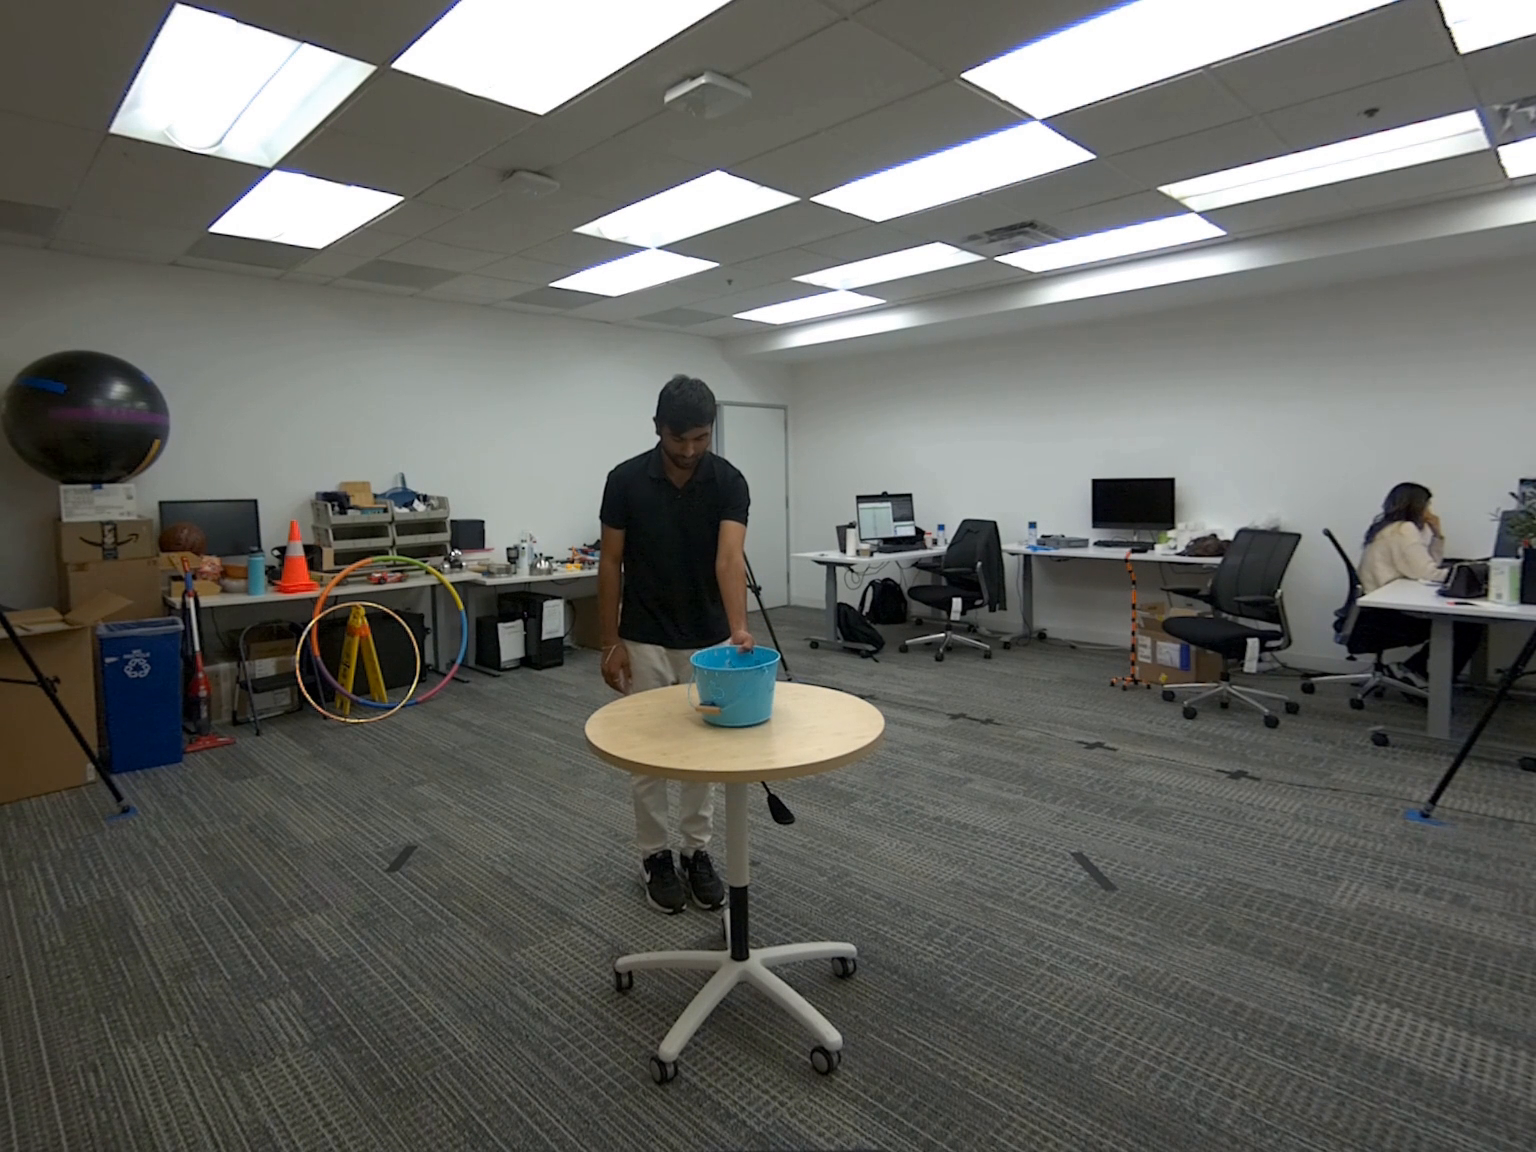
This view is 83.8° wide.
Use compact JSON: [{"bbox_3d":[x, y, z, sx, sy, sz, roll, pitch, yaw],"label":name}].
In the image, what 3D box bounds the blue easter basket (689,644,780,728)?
[{"bbox_3d":[-0.090,0.287,2.195,0.243,0.155,0.245,-3,8,-1],"label":"blue easter basket"}]
